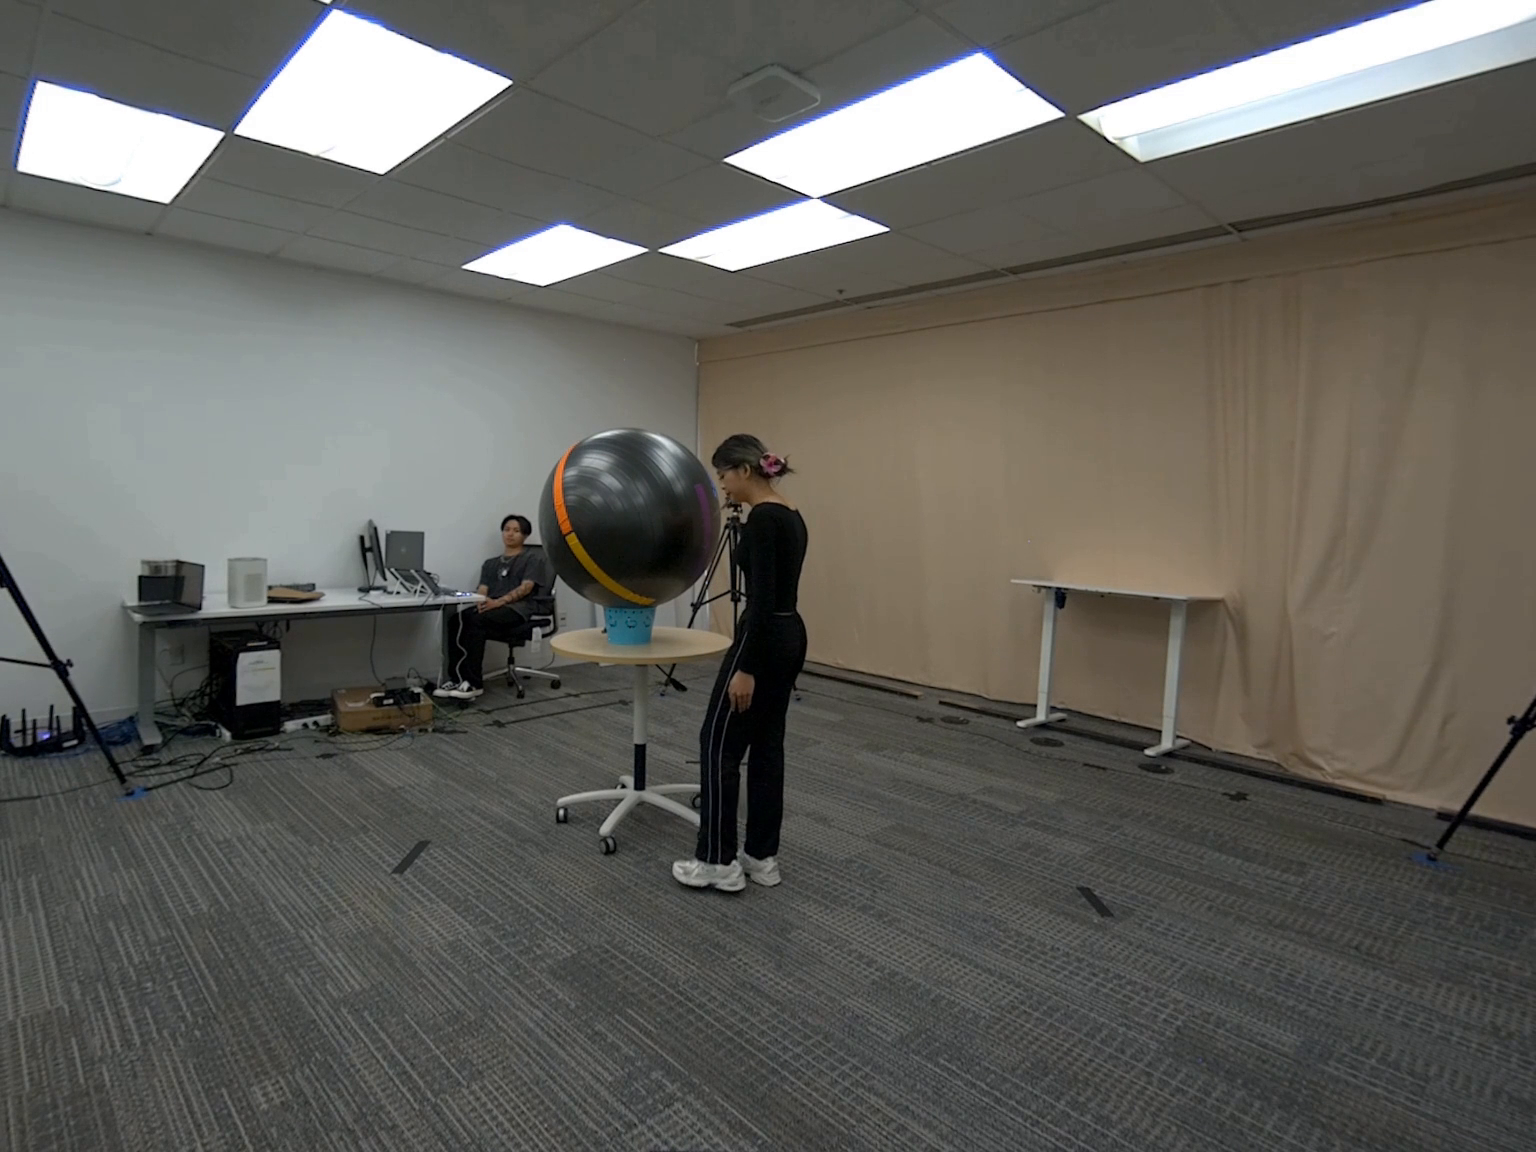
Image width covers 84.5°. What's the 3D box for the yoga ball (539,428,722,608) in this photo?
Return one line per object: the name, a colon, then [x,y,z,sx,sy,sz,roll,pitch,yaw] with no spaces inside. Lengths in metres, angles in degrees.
yoga ball: [-0.577,-0.235,3.526,0.757,0.756,0.761,1,4,-1]
